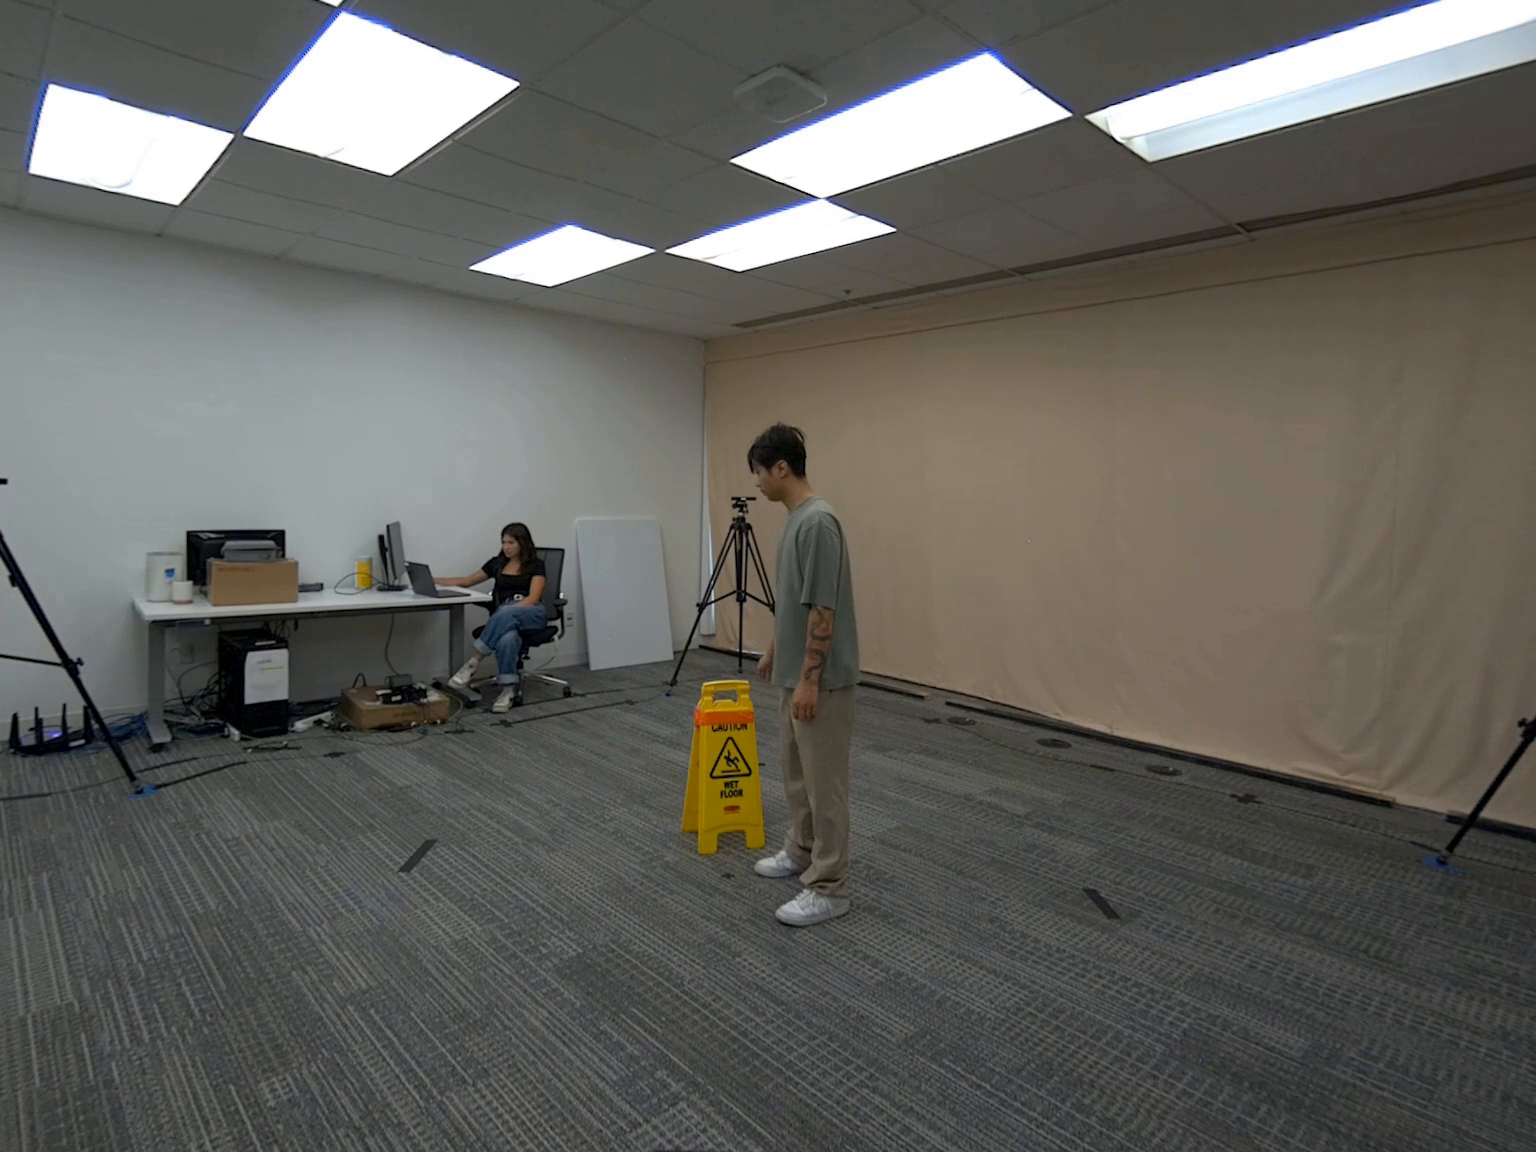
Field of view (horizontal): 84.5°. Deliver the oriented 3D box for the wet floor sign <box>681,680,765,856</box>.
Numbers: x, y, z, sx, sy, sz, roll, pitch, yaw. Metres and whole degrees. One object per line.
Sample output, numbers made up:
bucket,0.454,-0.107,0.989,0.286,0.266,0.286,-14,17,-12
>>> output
wet floor sign,-0.187,0.751,3.426,0.278,0.644,0.295,0,3,-21
